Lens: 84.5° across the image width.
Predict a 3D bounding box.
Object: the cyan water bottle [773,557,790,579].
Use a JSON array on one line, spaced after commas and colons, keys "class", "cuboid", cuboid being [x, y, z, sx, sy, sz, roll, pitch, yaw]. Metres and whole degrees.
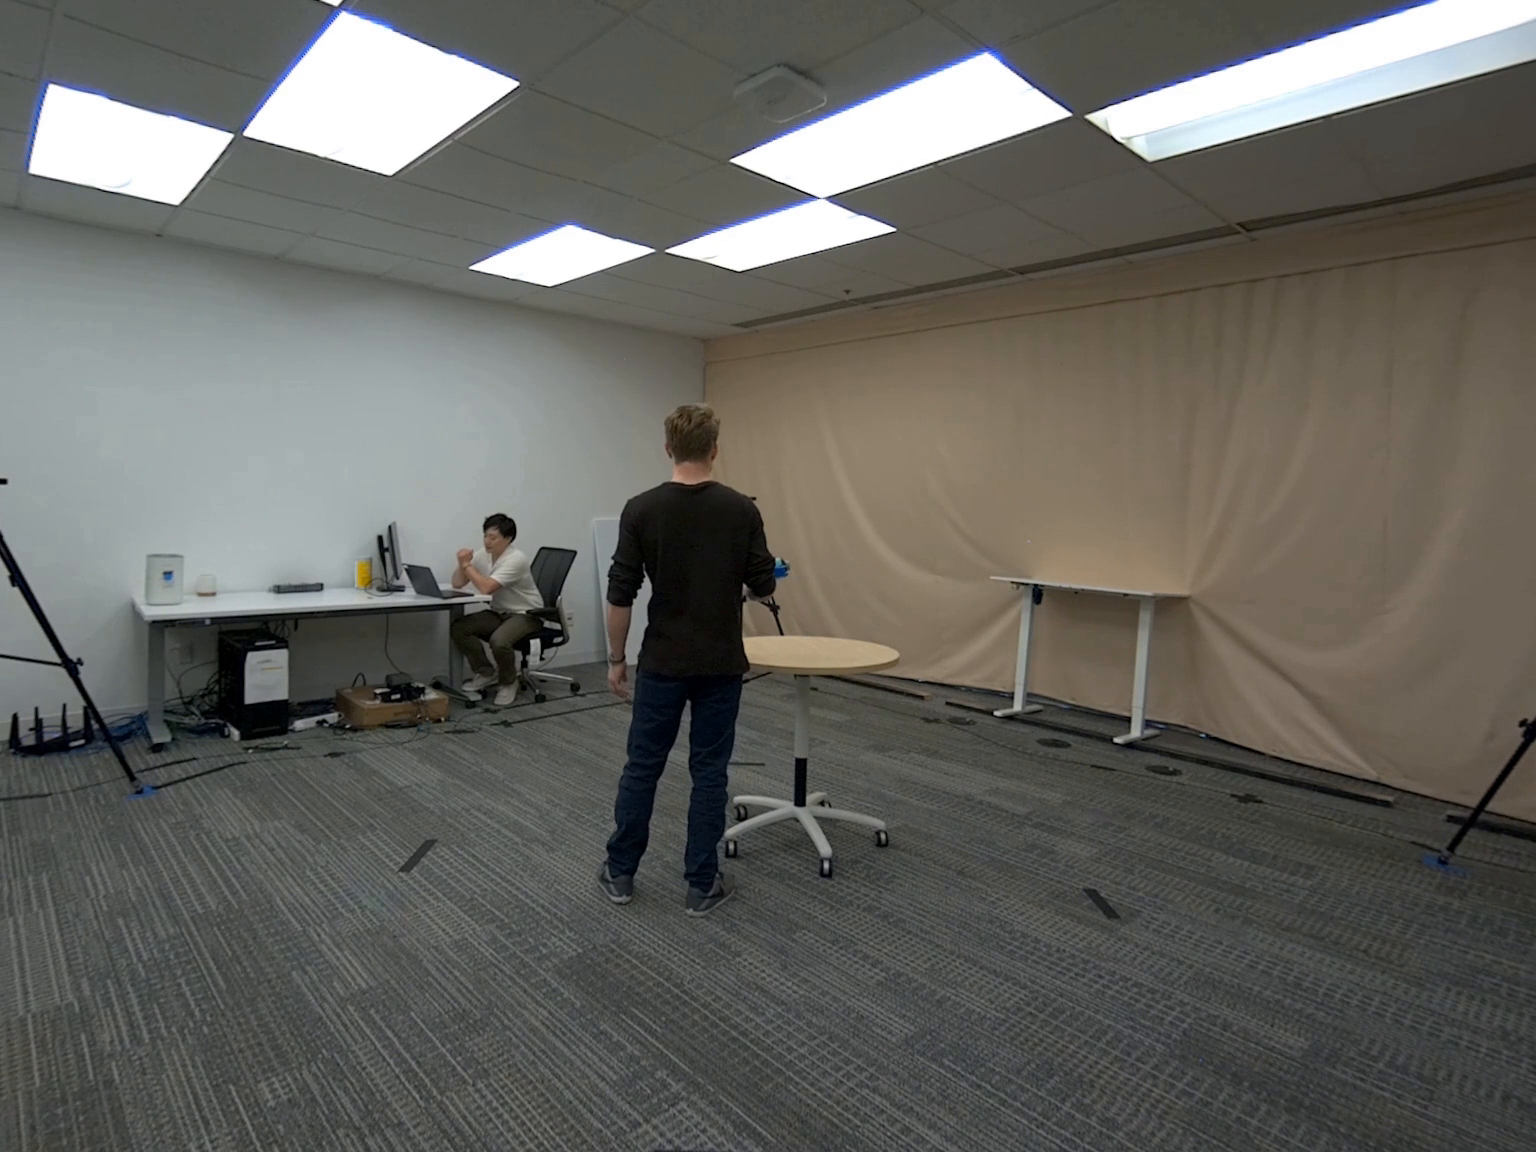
[{"class": "cyan water bottle", "cuboid": [-0.068, -0.019, 3.228, 0.284, 0.092, 0.092, -5, 4, 3]}]
